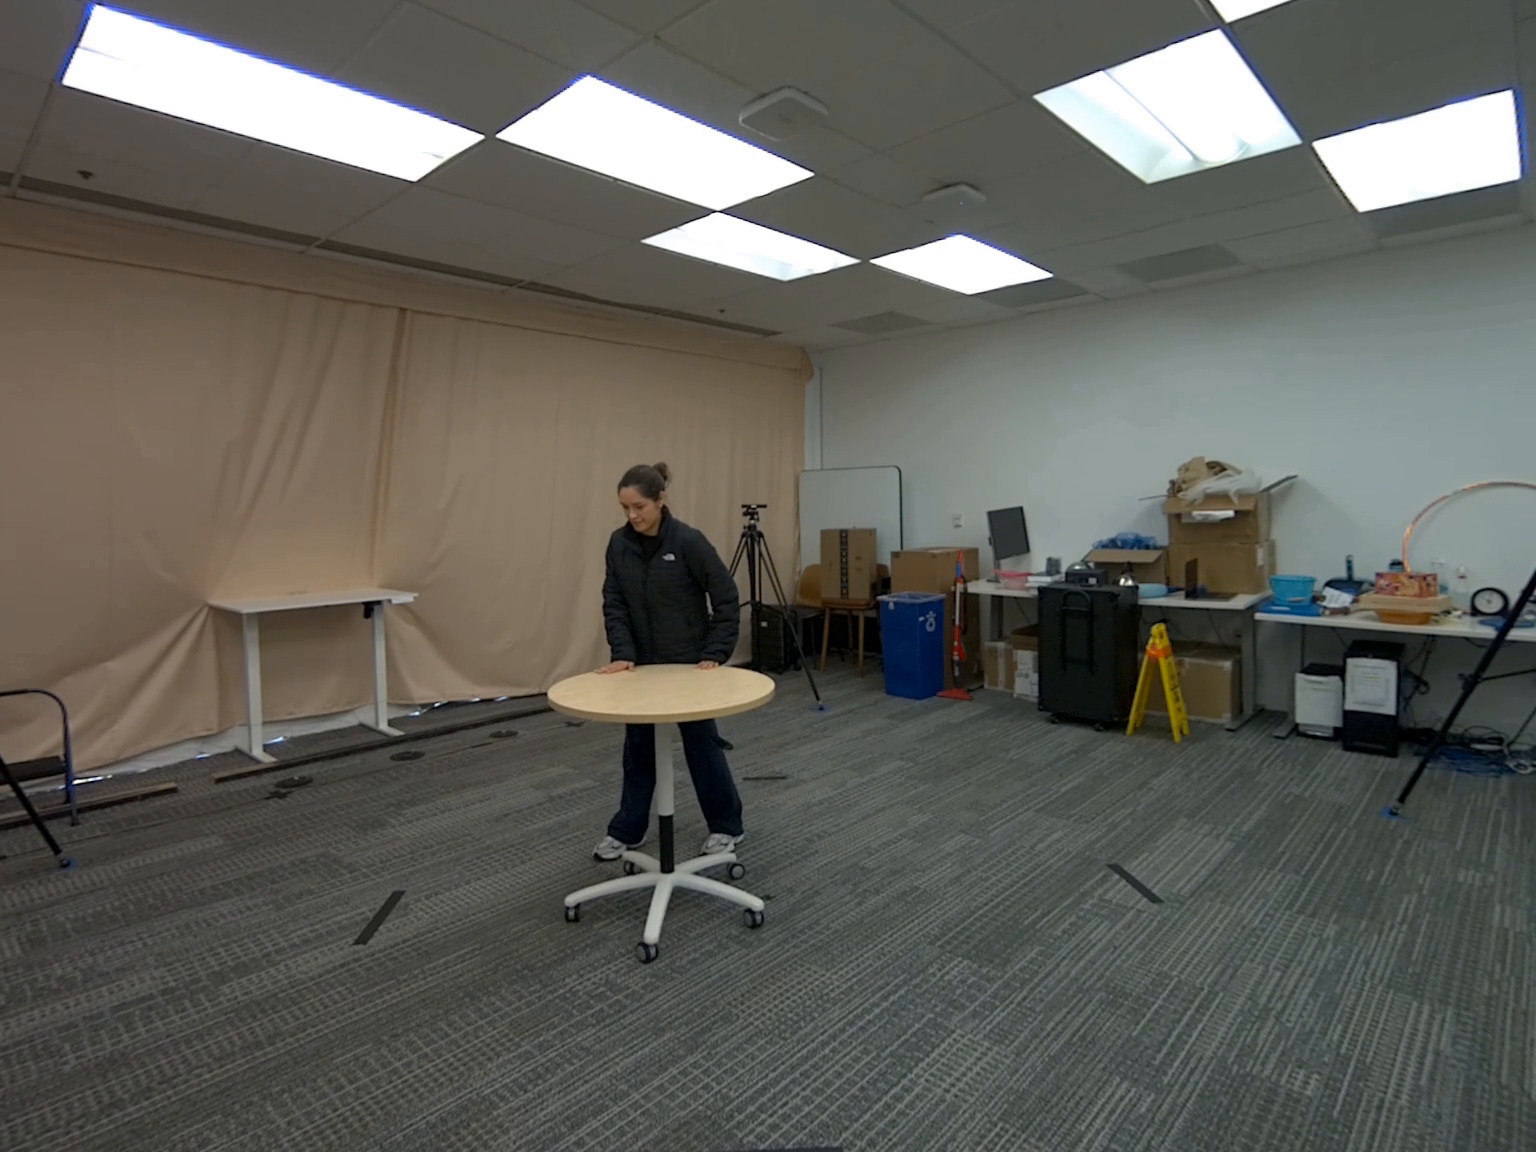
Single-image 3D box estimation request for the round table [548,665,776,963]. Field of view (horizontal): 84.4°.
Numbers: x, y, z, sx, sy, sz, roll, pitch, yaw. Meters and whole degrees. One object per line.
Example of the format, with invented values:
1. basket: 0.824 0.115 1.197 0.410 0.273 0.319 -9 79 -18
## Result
1. round table: -0.350 0.758 2.895 0.784 0.784 0.788 -1 4 -2
